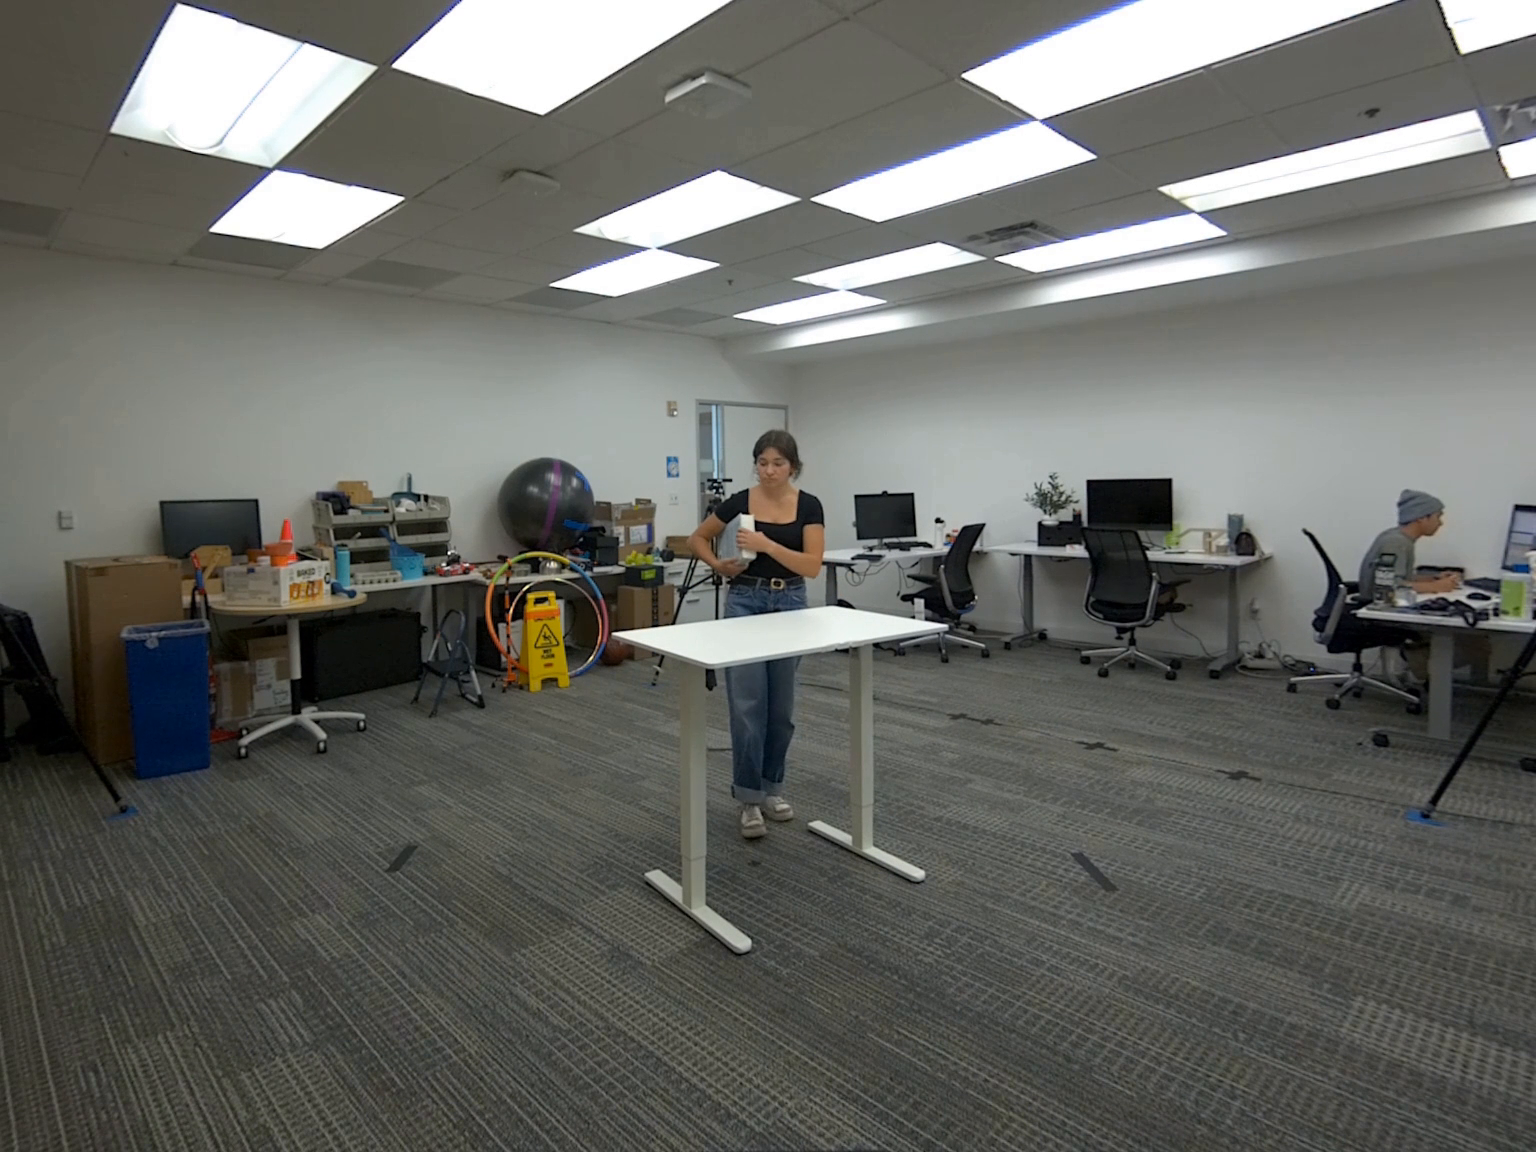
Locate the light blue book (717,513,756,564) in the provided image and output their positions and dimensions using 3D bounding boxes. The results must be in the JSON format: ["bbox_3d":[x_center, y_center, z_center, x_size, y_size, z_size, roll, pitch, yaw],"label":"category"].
[{"bbox_3d":[-0.134,-0.126,3.508,0.058,0.195,0.262,5,-19,-23],"label":"light blue book"}]
